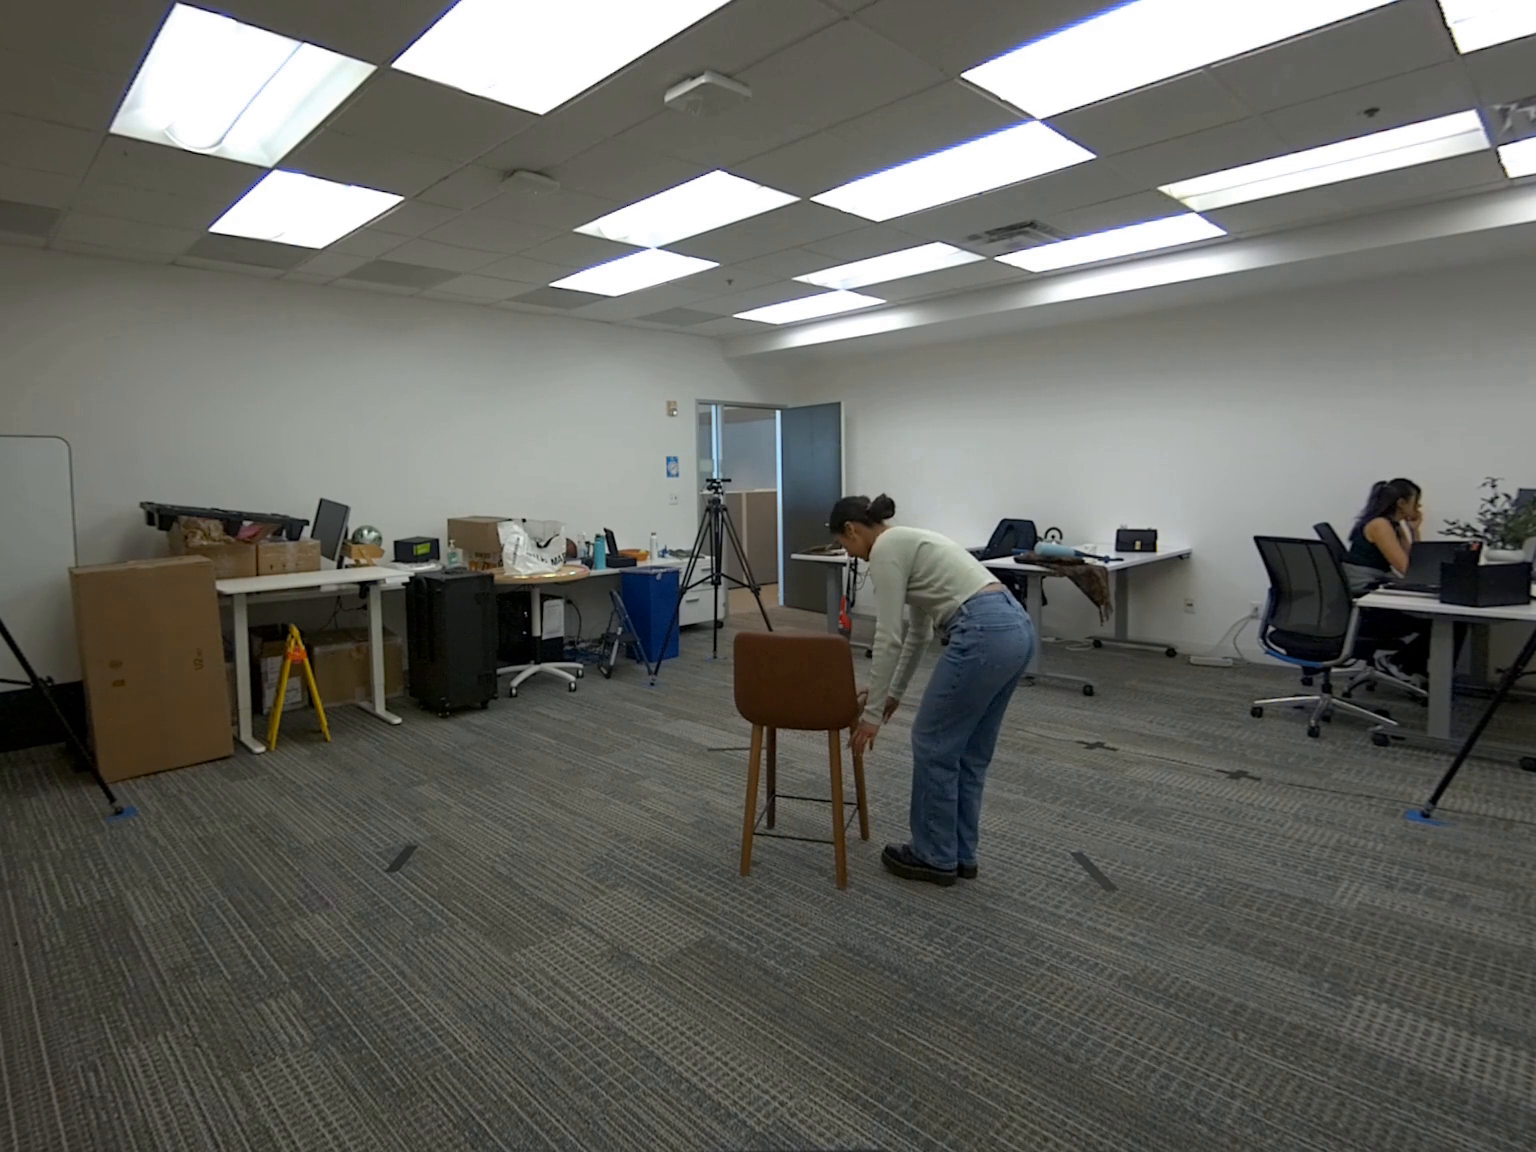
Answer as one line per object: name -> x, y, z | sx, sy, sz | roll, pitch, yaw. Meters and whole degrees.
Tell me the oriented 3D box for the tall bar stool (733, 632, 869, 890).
tall bar stool -> 0.138, 0.608, 3.136 | 0.465, 0.886, 0.461 | 1, 5, 18
